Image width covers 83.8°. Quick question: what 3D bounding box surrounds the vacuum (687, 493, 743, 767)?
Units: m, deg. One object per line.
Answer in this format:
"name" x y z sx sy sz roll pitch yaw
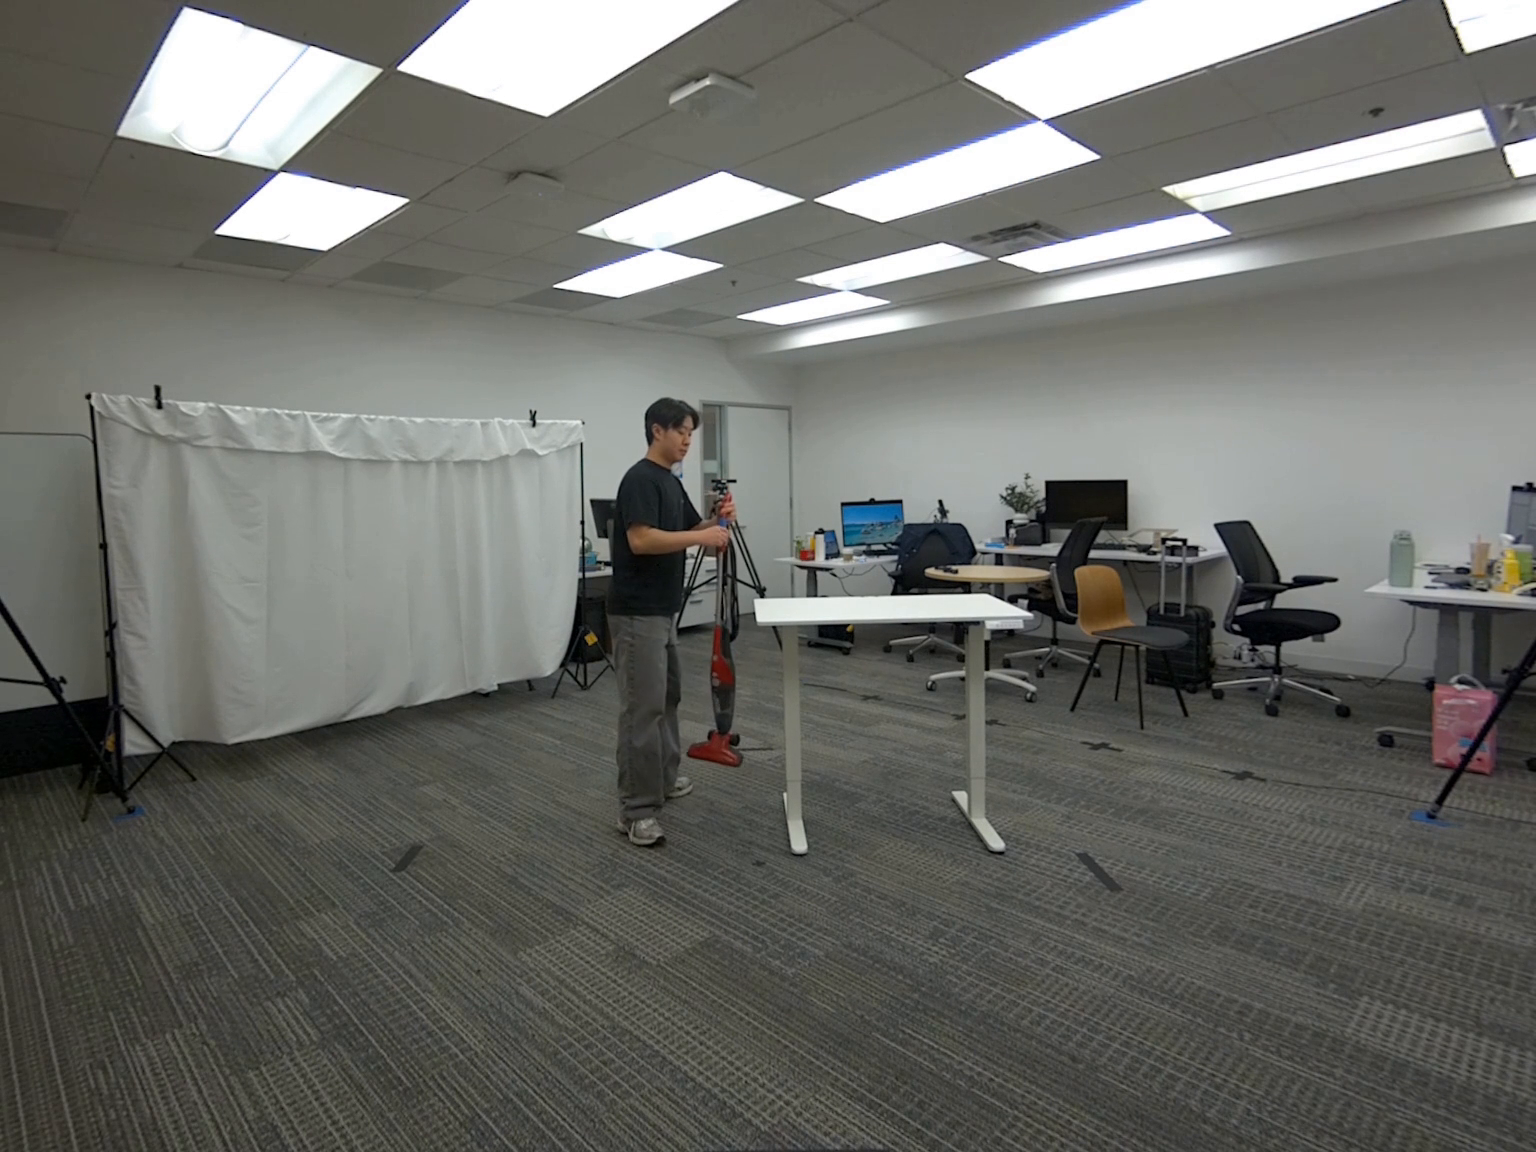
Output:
"vacuum" -0.183 0.199 3.532 0.259 1.048 0.140 4 2 30
